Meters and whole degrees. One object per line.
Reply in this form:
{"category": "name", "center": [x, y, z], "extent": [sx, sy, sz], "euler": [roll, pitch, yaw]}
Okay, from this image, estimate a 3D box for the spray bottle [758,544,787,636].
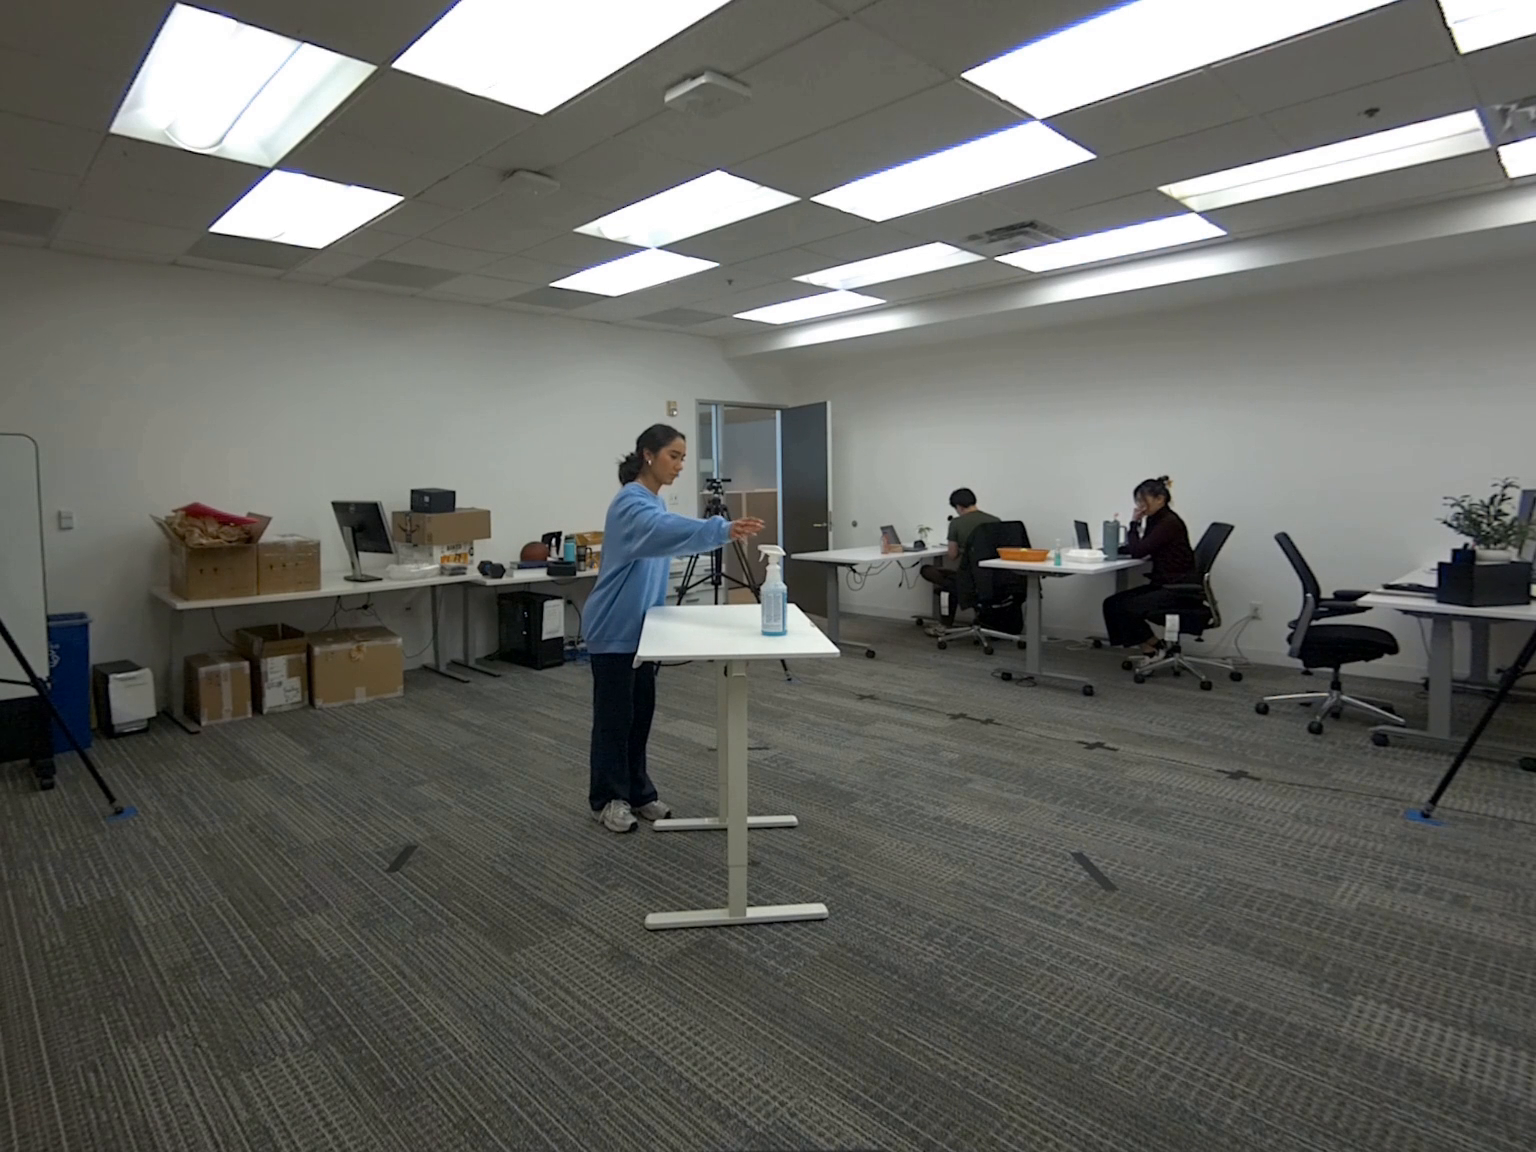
{"category": "spray bottle", "center": [0.024, 0.049, 2.826], "extent": [0.093, 0.296, 0.085], "euler": [4, 7, 42]}
